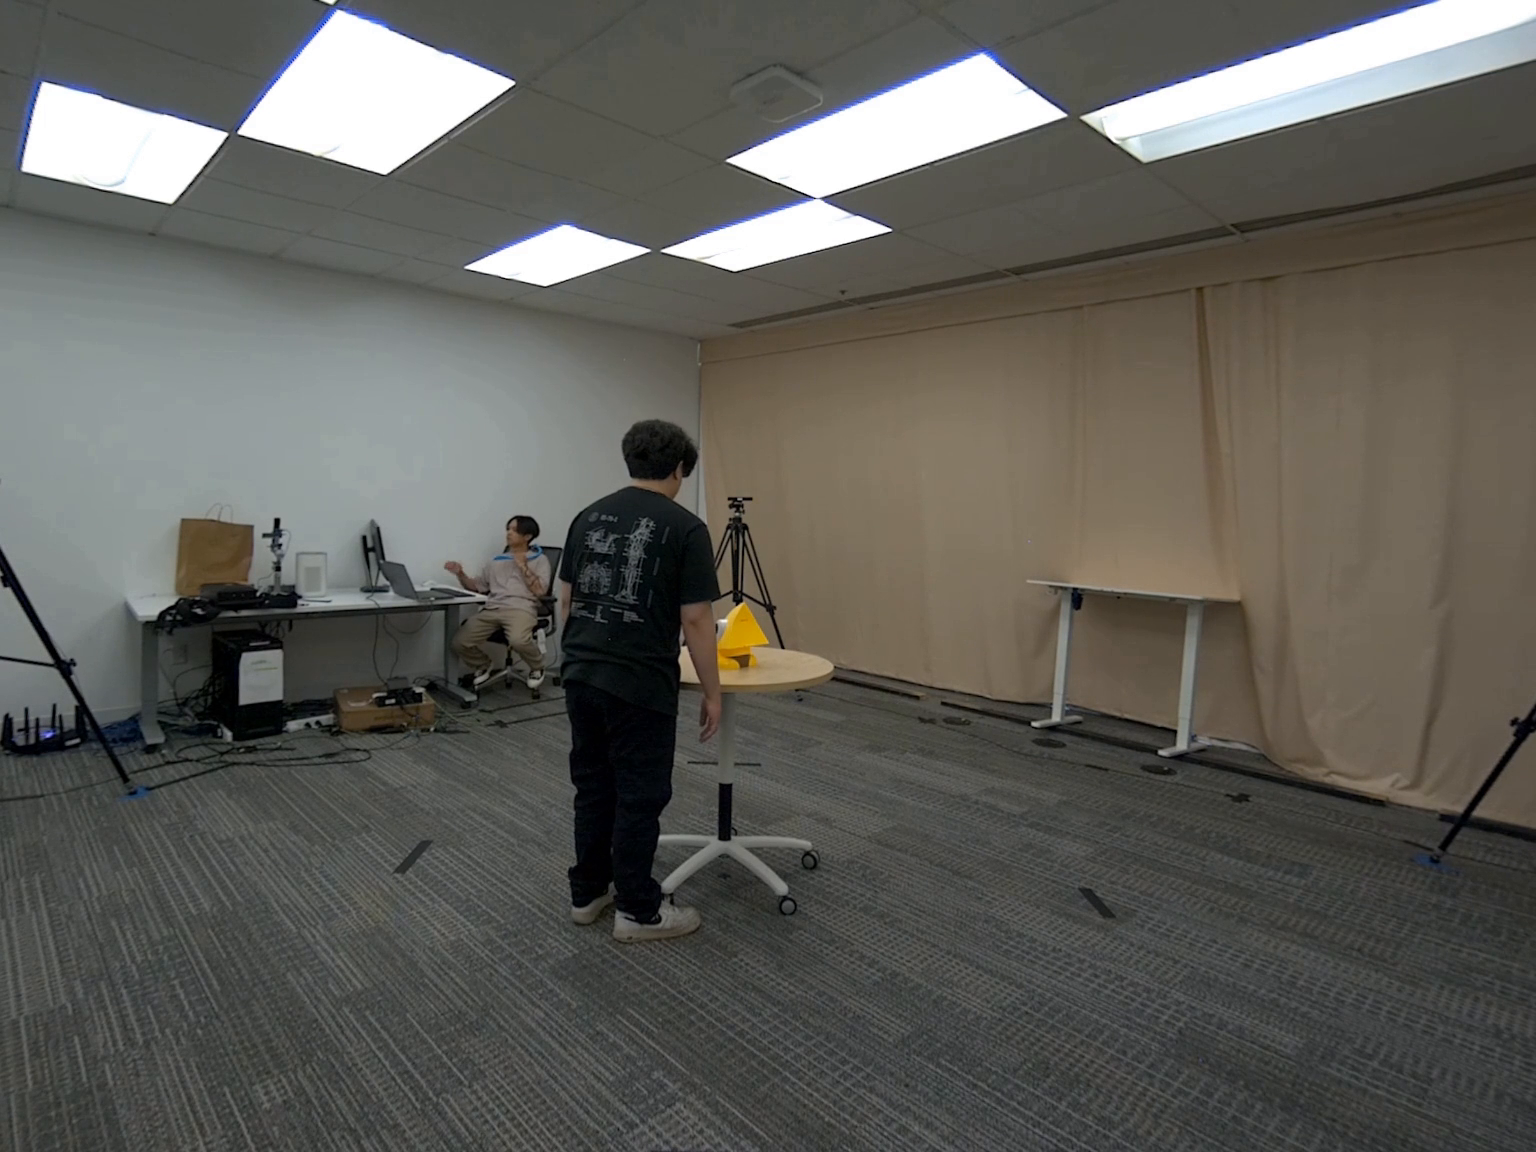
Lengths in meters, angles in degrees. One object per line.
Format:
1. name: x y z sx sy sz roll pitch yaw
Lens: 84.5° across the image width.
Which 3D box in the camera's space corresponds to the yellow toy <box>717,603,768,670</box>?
1. yellow toy: -0.141 0.206 3.031 0.198 0.230 0.200 4 5 44
